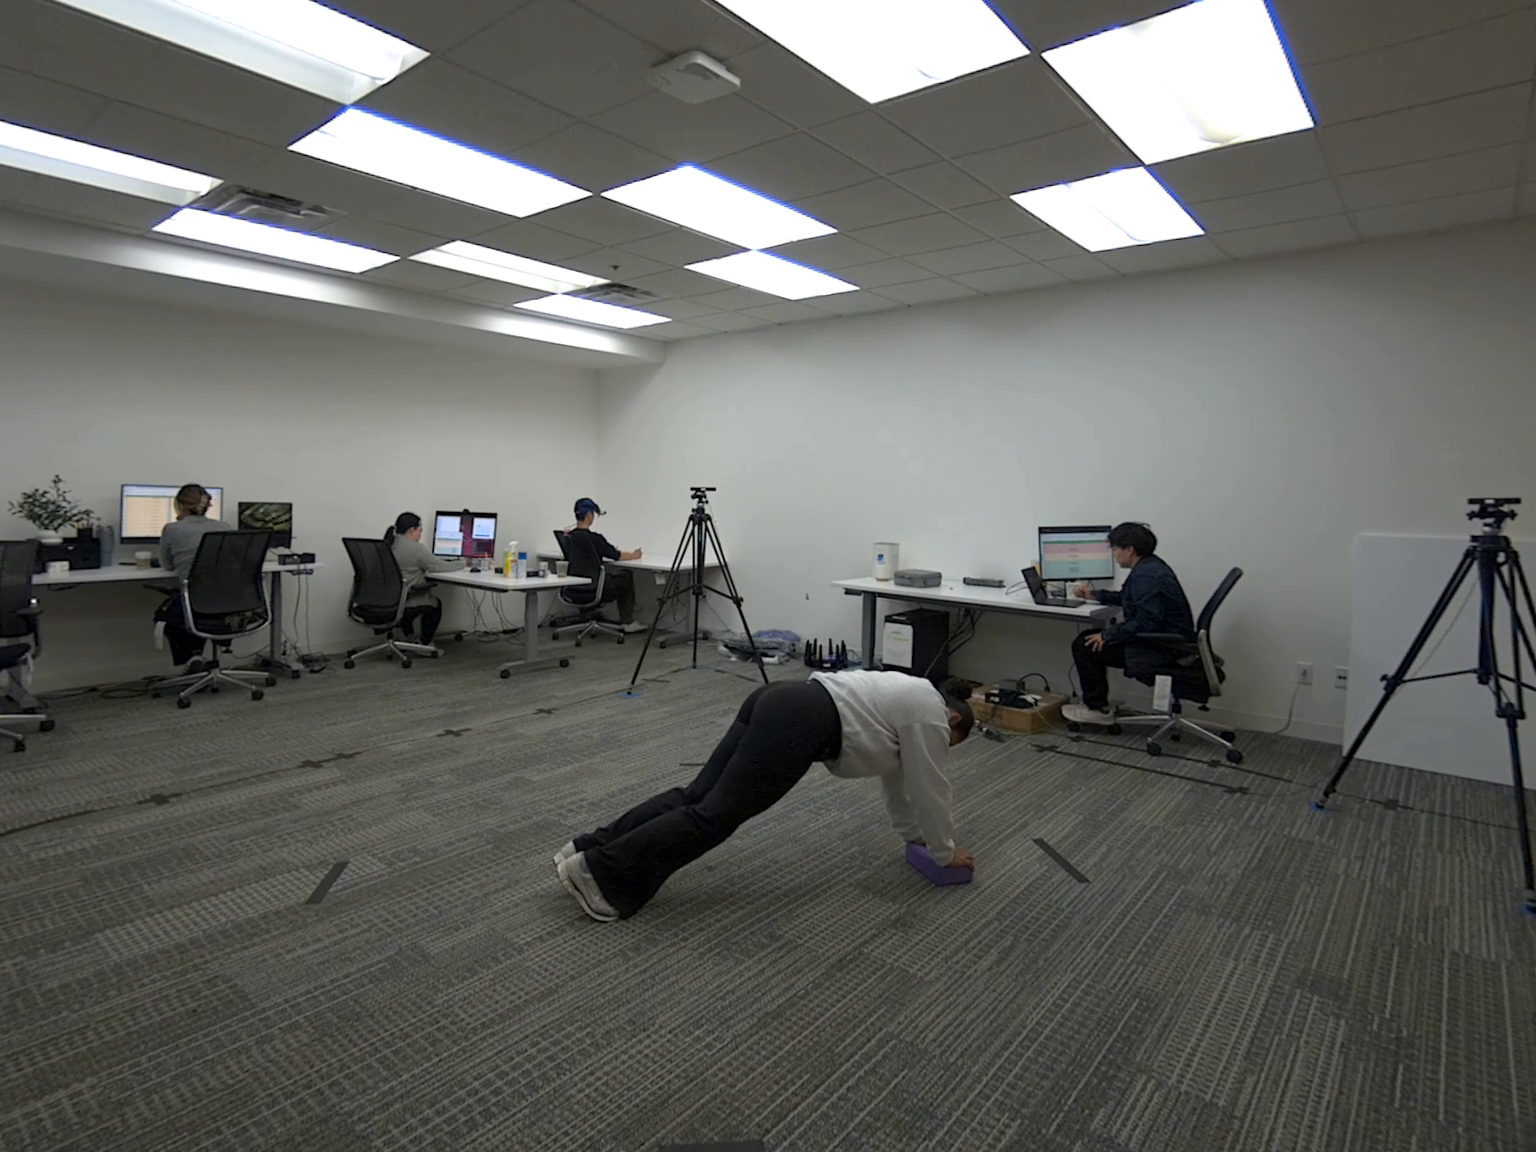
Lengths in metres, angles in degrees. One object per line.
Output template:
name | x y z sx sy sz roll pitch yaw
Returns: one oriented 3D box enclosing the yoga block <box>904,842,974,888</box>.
yoga block | 0.622 1.052 3.137 0.146 0.076 0.234 0 4 -19
